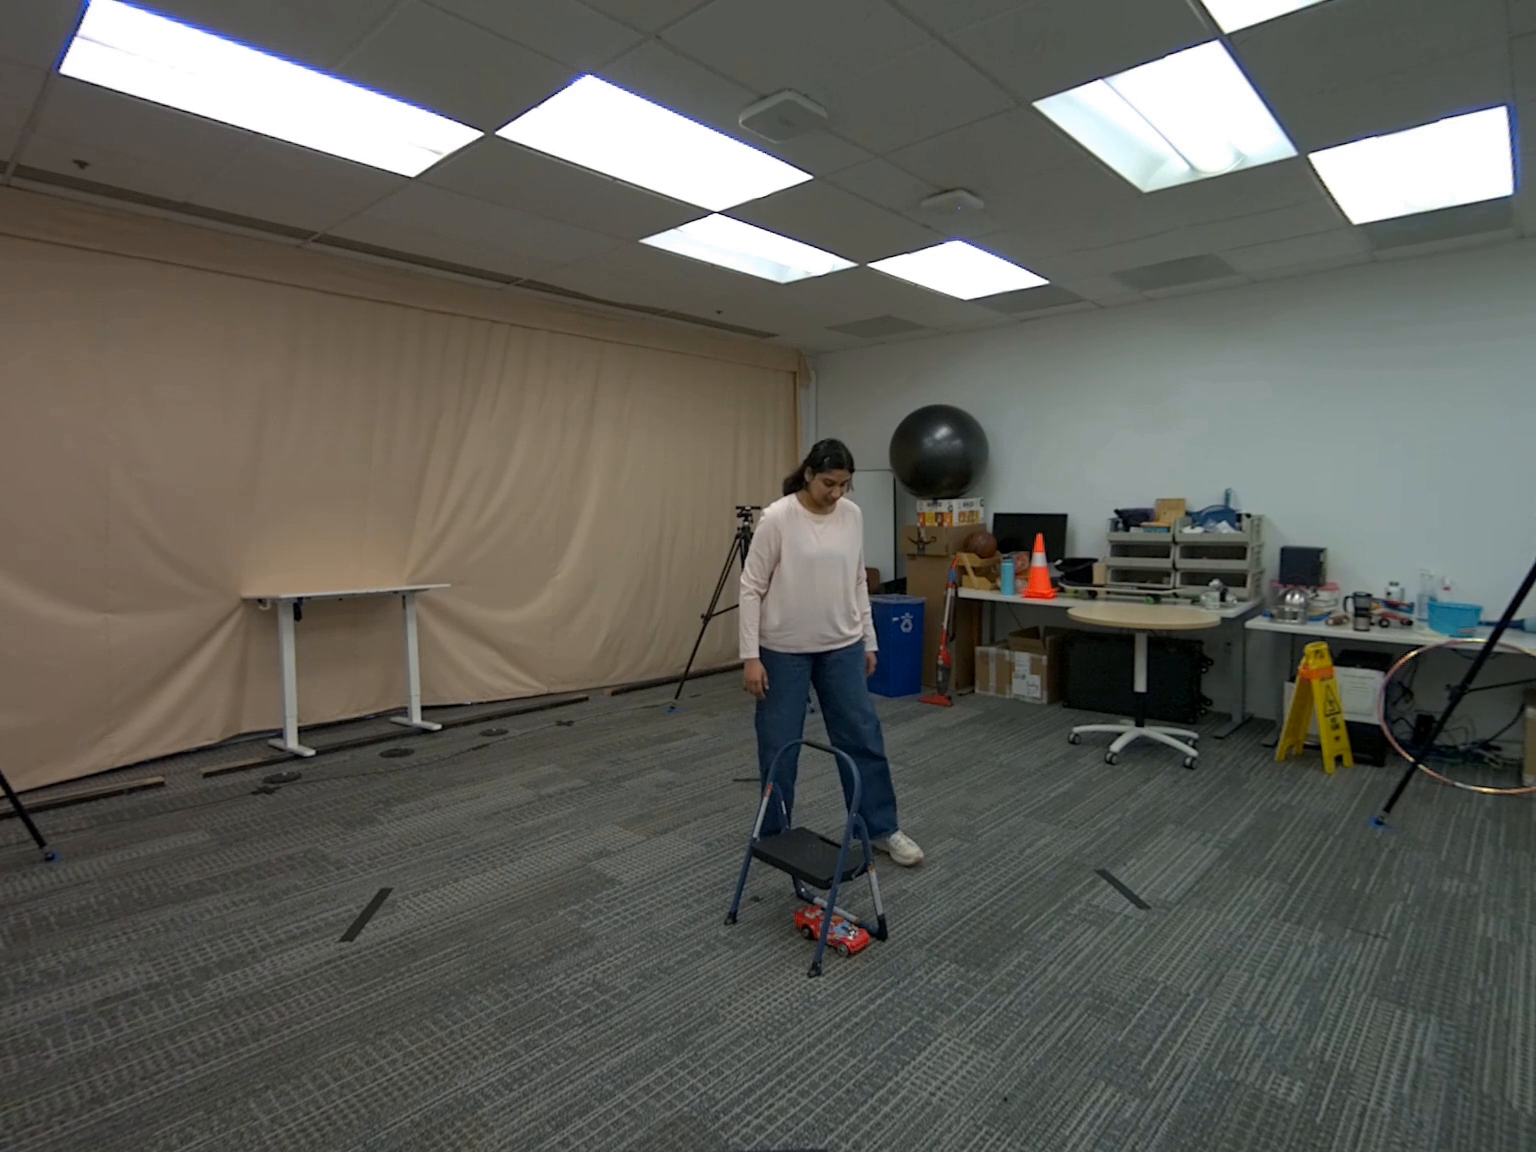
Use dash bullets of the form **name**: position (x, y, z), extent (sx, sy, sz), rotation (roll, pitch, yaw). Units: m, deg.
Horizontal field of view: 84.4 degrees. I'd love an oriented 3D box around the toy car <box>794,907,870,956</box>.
- **toy car**: position (0.201, 1.132, 2.704), extent (0.126, 0.083, 0.264), rotation (-5, 17, -45)
